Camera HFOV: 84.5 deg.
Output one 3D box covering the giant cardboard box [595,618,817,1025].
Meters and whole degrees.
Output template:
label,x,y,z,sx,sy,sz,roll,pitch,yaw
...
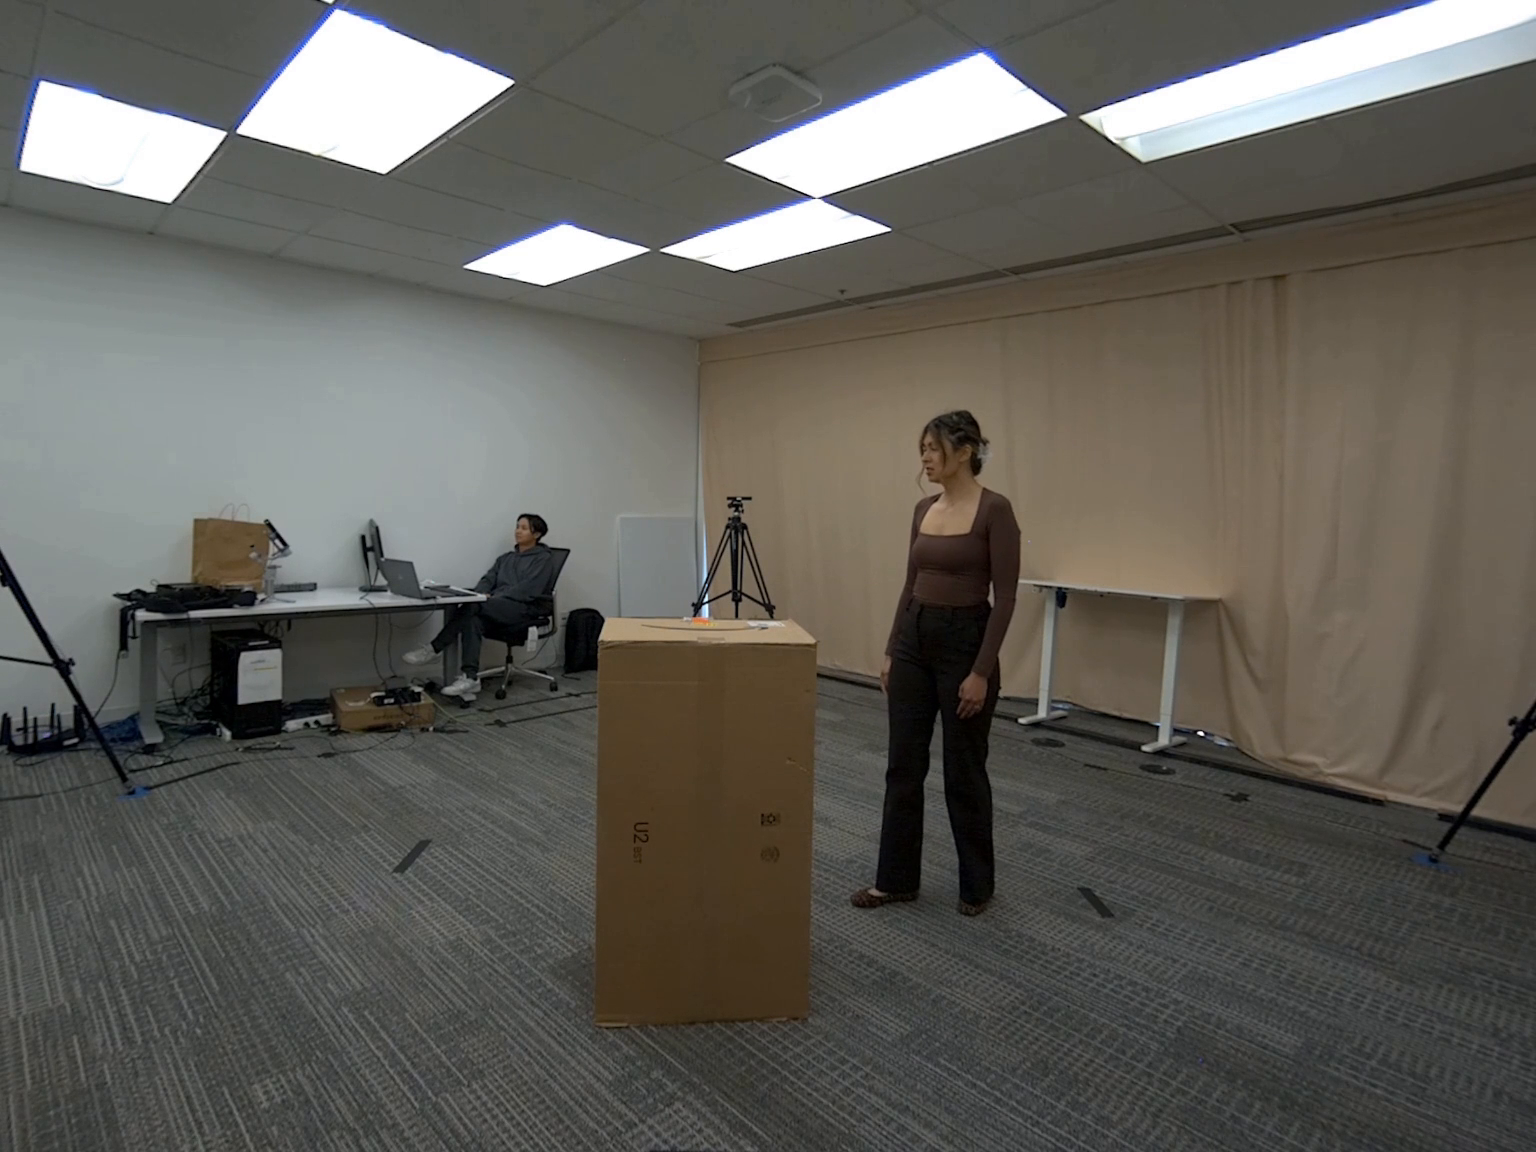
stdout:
label,x,y,z,sx,sy,sz,roll,pitch,yaw
giant cardboard box,-0.200,0.659,2.408,0.580,1.024,0.451,1,4,-8
